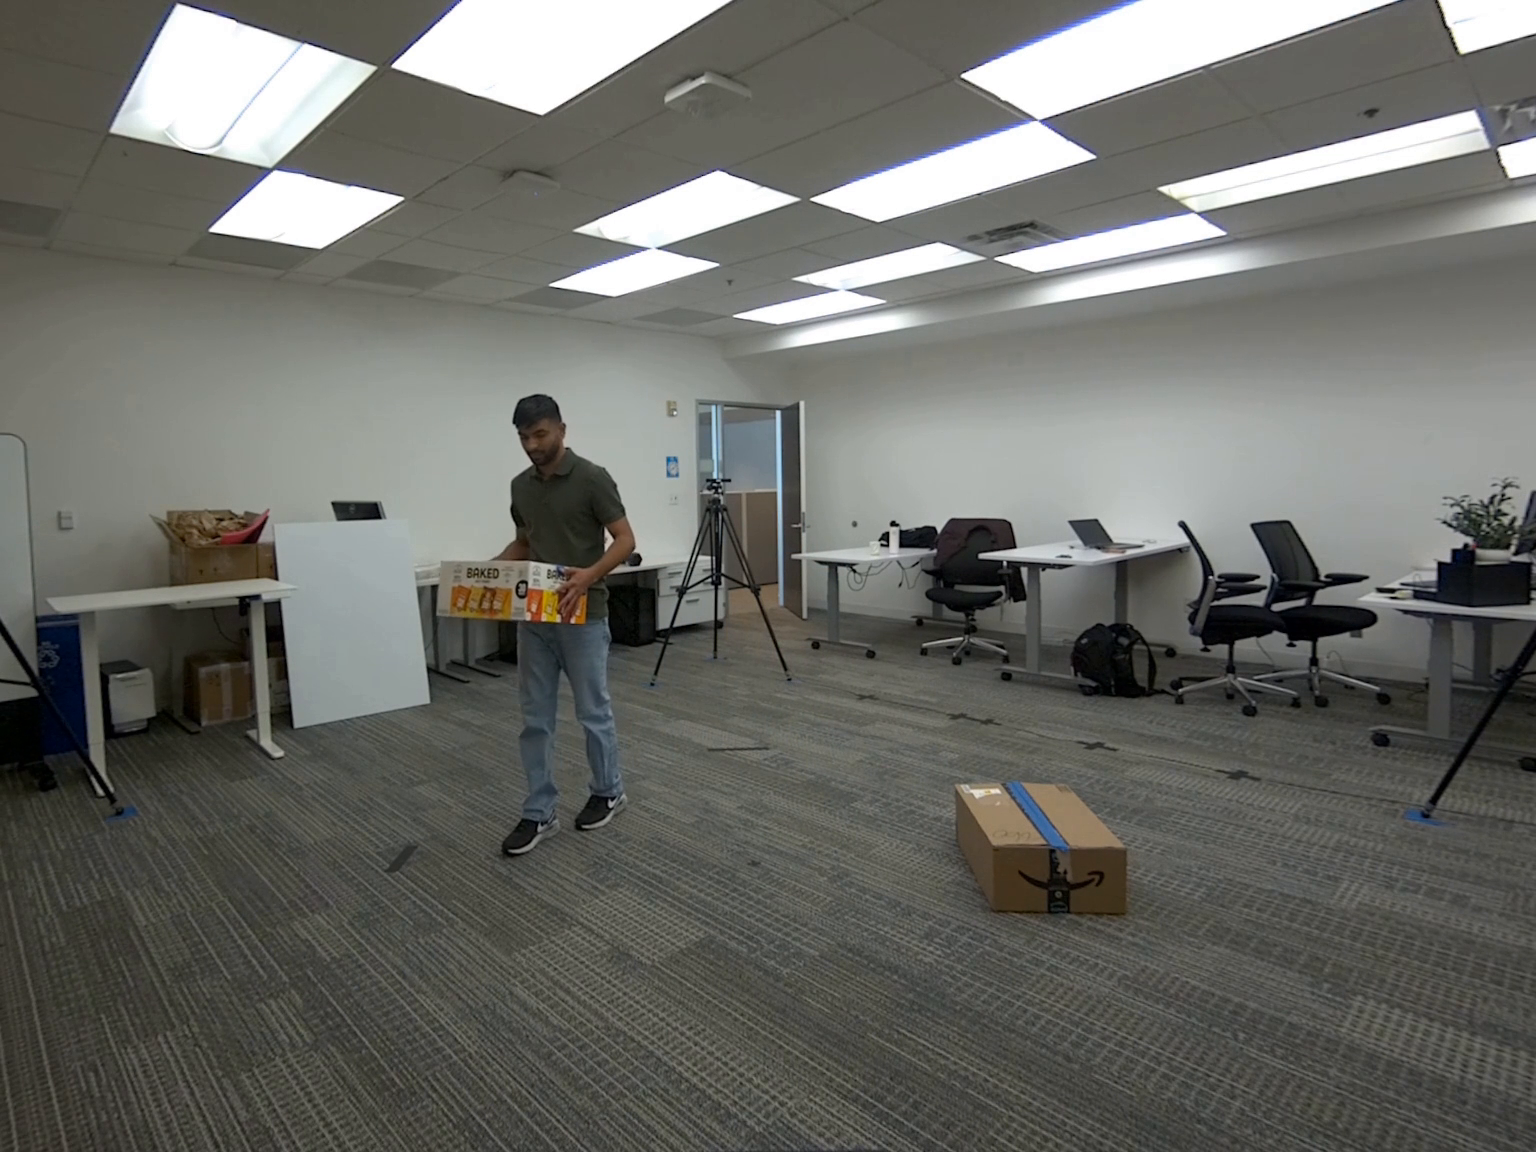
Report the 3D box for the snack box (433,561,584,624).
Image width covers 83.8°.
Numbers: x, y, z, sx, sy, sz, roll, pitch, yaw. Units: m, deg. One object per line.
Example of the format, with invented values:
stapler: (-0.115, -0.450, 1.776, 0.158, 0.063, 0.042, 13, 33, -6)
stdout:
snack box: (-0.936, 0.065, 3.125, 0.415, 0.207, 0.330, 0, -6, 26)
